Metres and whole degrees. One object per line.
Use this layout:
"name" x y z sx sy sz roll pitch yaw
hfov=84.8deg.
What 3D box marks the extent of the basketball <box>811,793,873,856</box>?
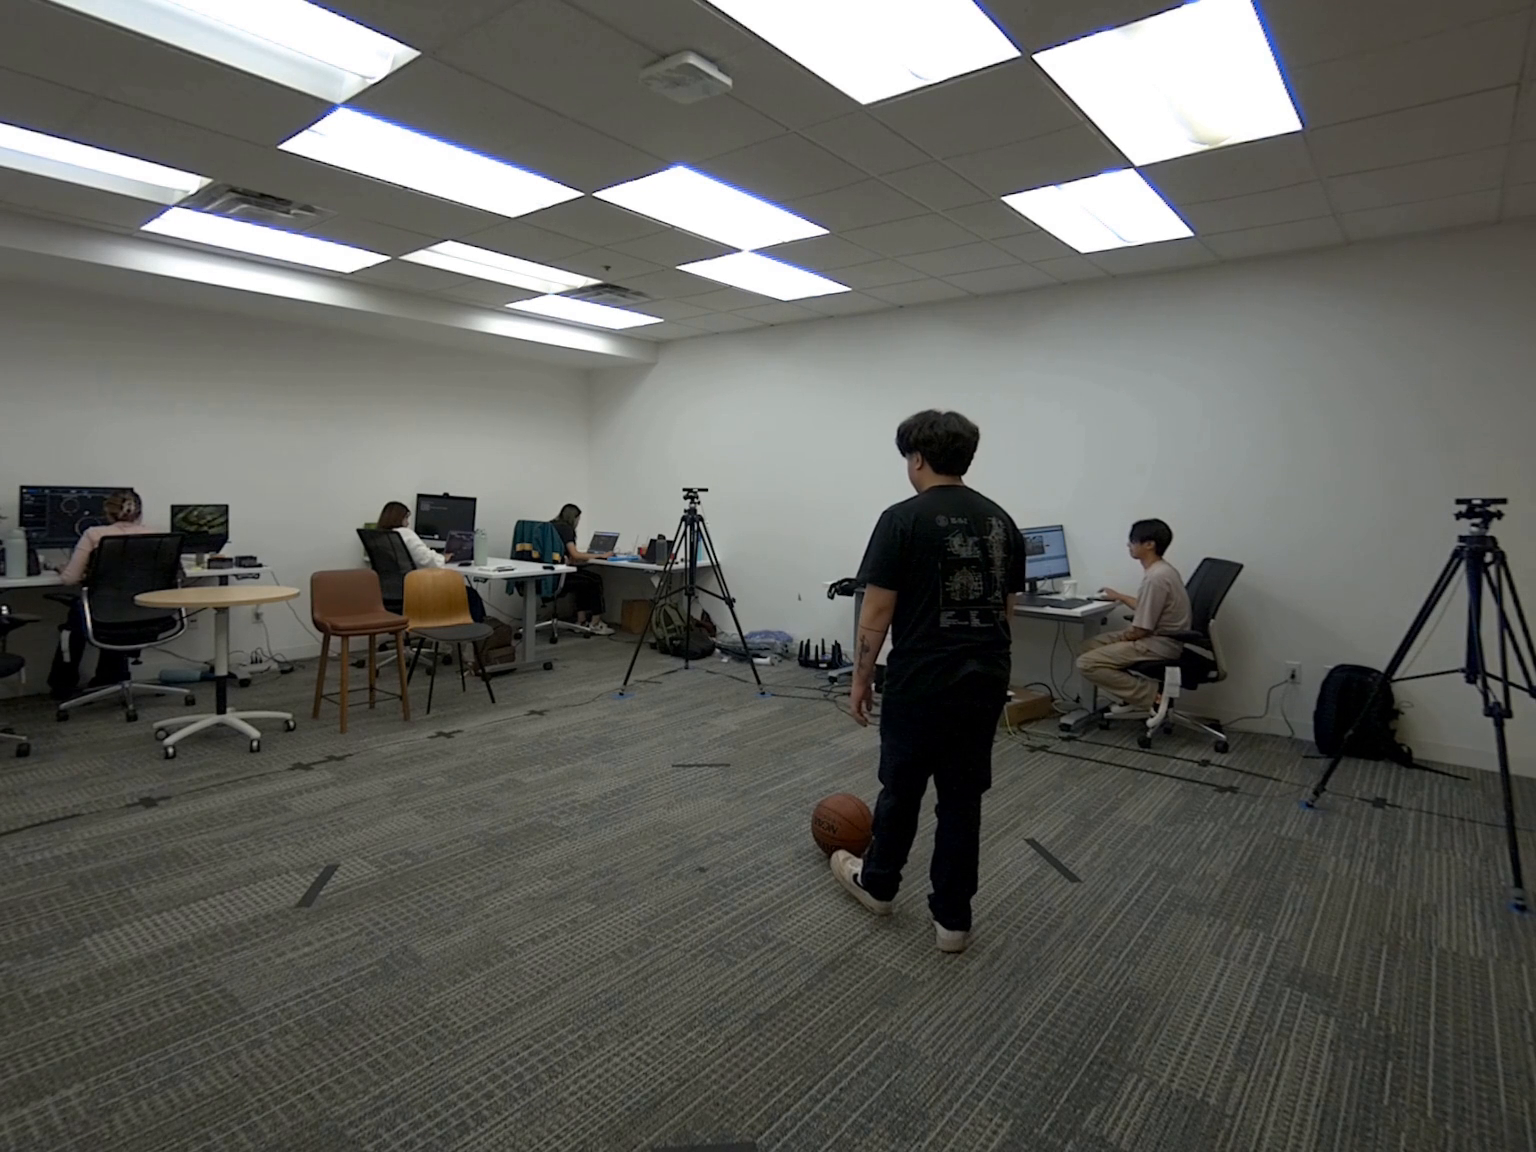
"basketball" 0.273 0.944 3.238 0.235 0.235 0.237 1 4 -2
